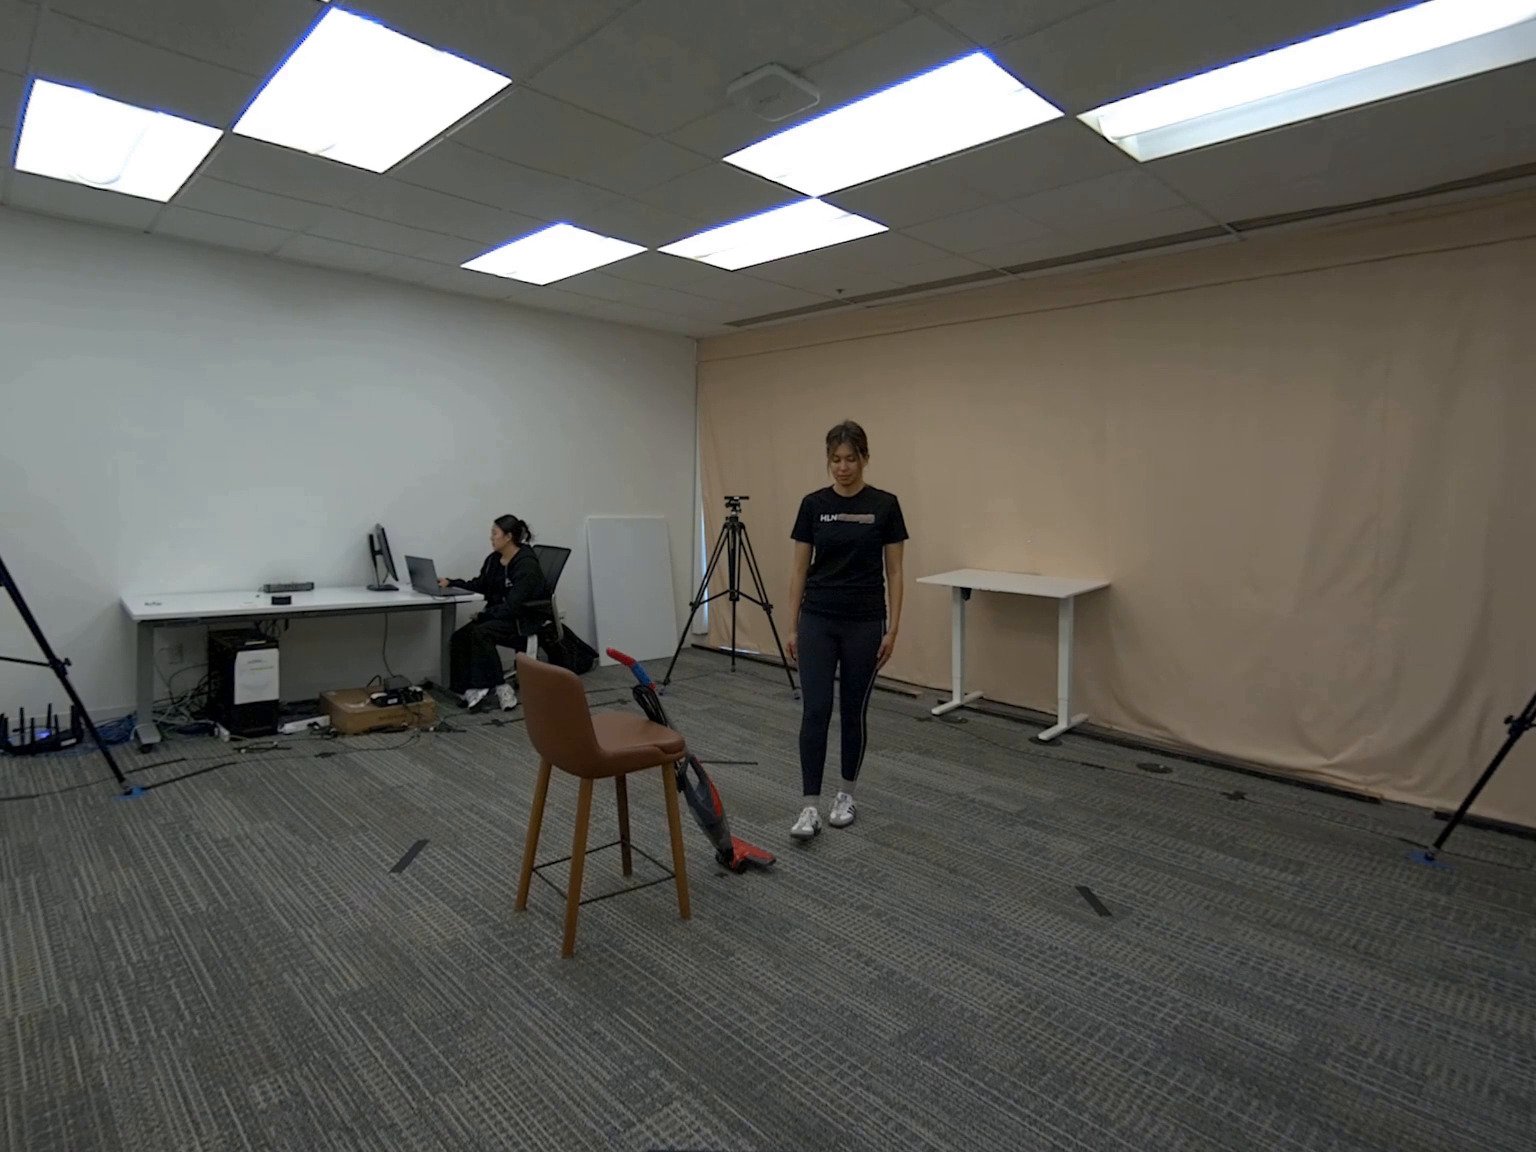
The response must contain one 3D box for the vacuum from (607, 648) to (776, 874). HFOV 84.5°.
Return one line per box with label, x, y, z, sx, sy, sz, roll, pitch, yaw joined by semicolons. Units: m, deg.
vacuum;-0.309;0.666;2.989;0.259;1.025;0.144;3;38;47
